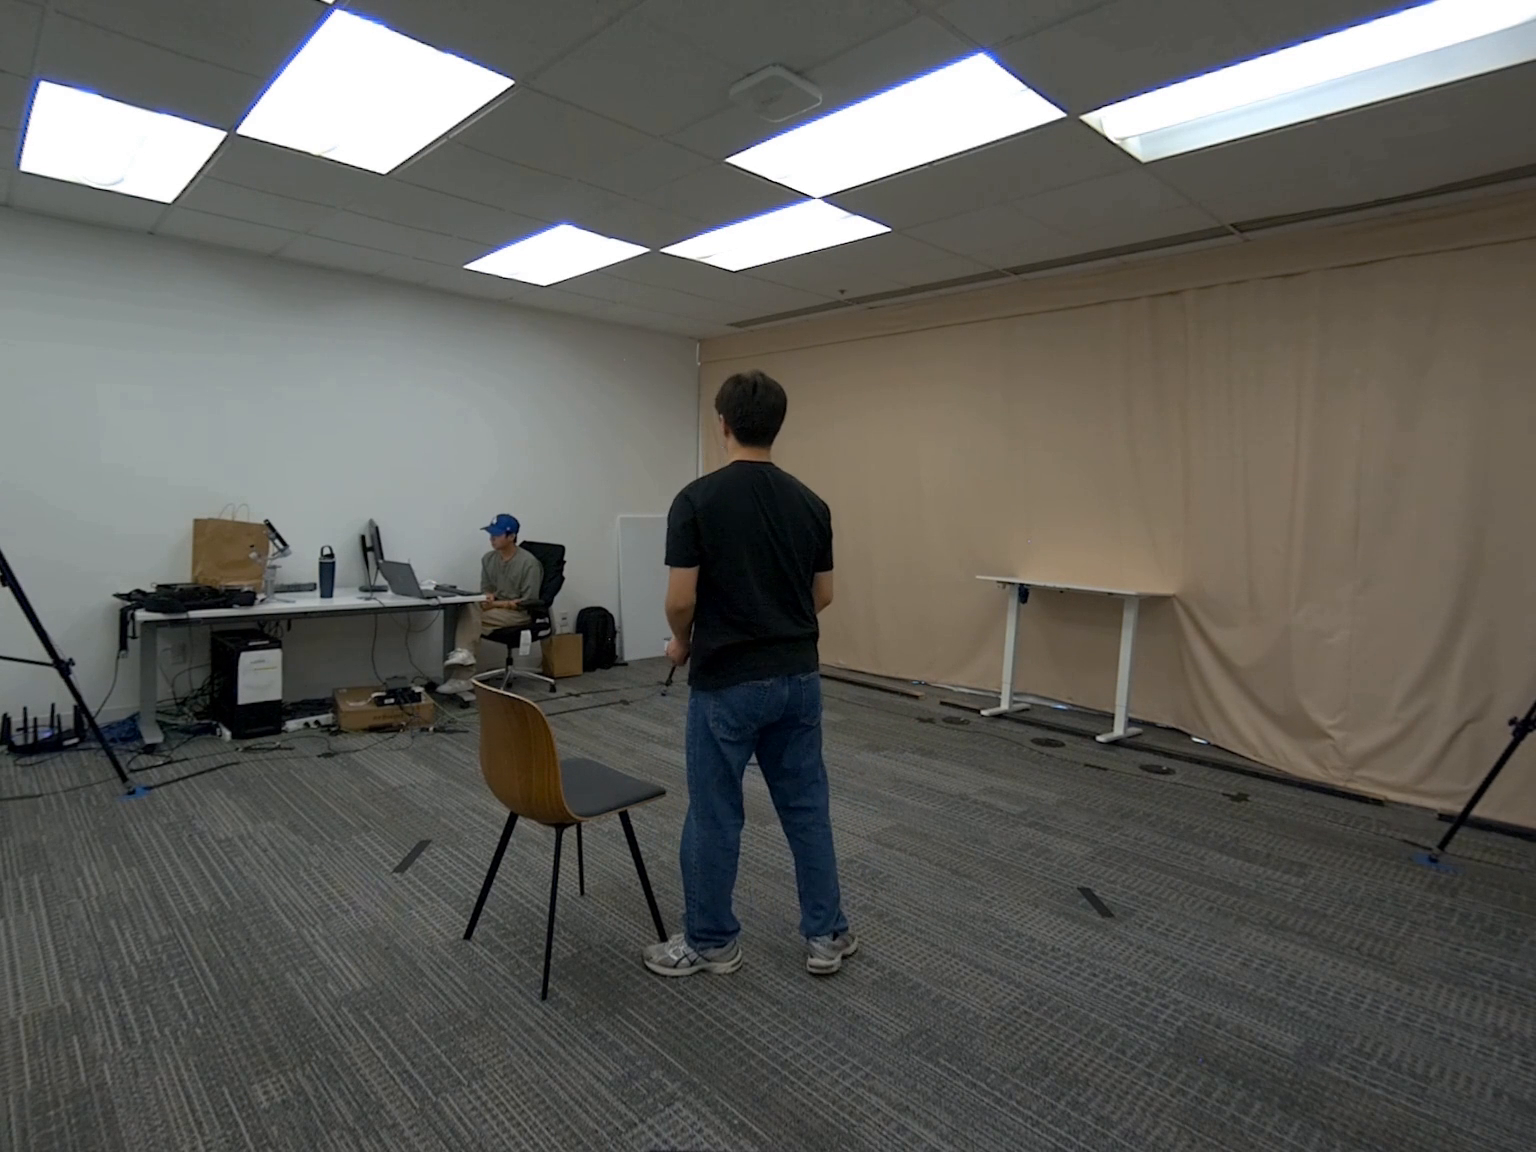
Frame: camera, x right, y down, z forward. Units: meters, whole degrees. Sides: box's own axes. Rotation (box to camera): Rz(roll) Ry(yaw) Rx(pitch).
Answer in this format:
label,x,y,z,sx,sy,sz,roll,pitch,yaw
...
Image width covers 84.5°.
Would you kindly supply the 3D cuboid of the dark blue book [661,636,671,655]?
label,x,y,z,sx,sy,sz,roll,pitch,yaw
dark blue book,-0.171,0.236,2.707,0.241,0.045,0.166,-2,3,-24
